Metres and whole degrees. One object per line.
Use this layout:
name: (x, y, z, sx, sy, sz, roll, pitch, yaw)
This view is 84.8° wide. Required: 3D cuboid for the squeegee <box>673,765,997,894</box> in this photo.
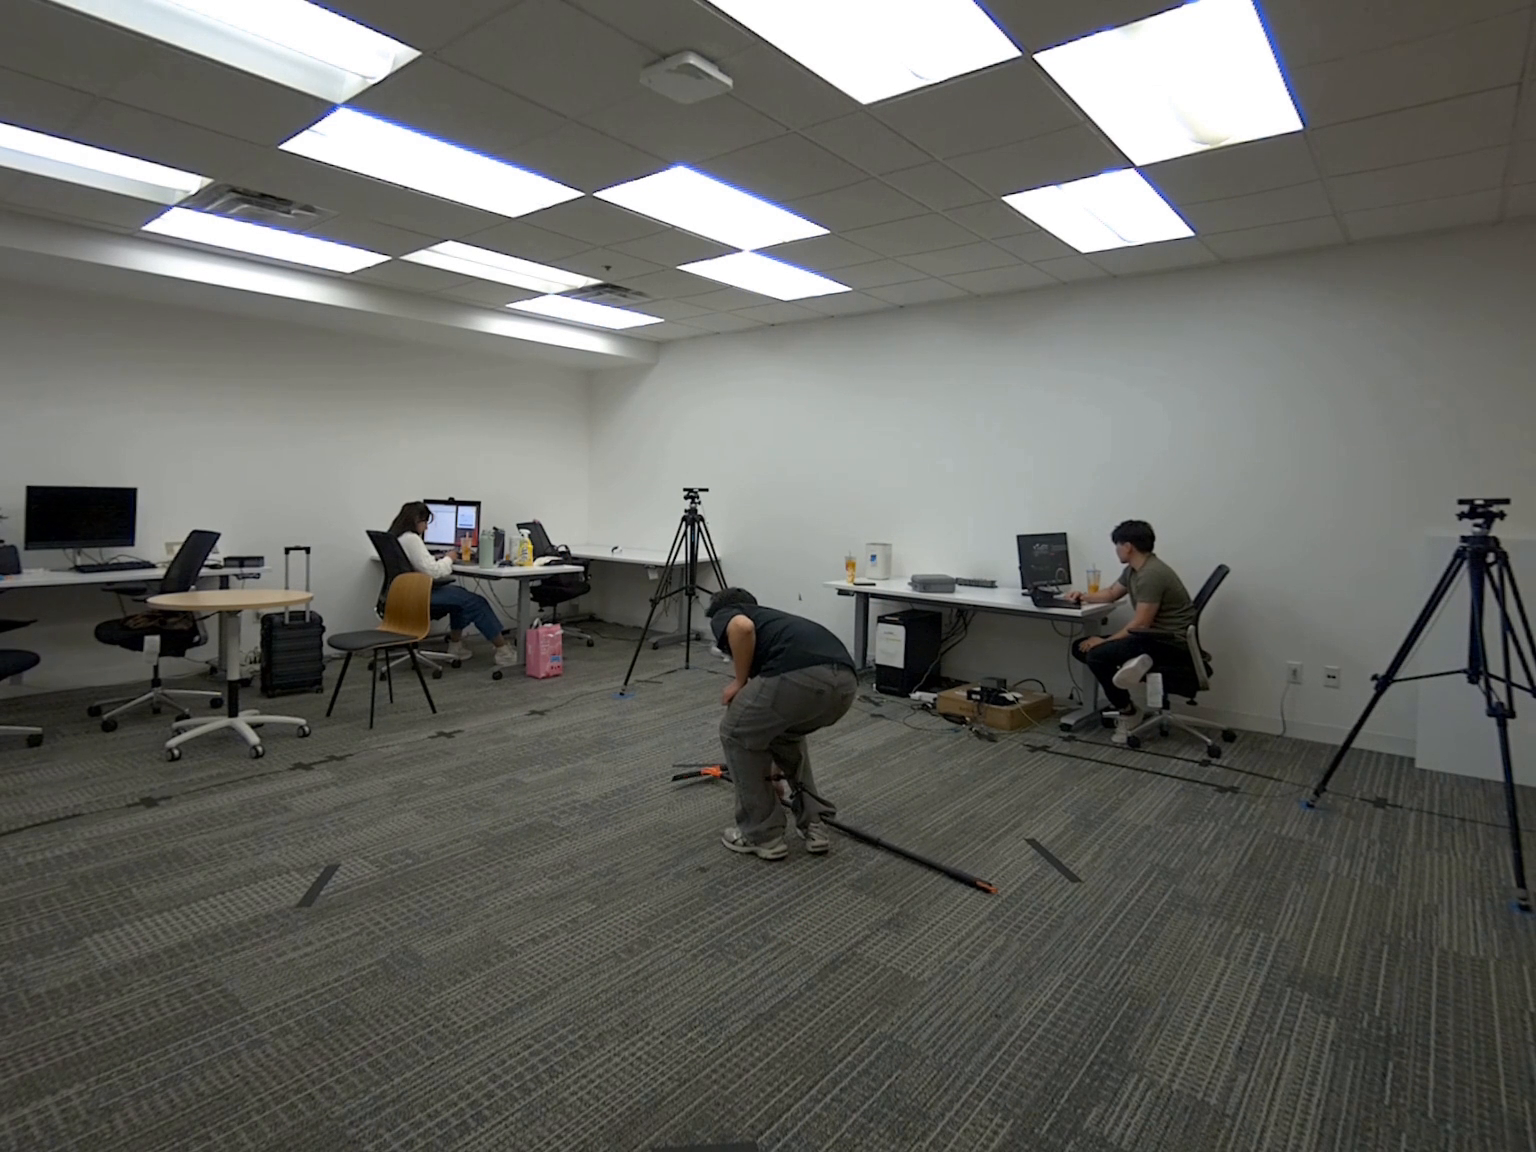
squeegee: (0.240, 0.990, 3.534, 0.423, 0.053, 1.592, 0, 6, -45)
